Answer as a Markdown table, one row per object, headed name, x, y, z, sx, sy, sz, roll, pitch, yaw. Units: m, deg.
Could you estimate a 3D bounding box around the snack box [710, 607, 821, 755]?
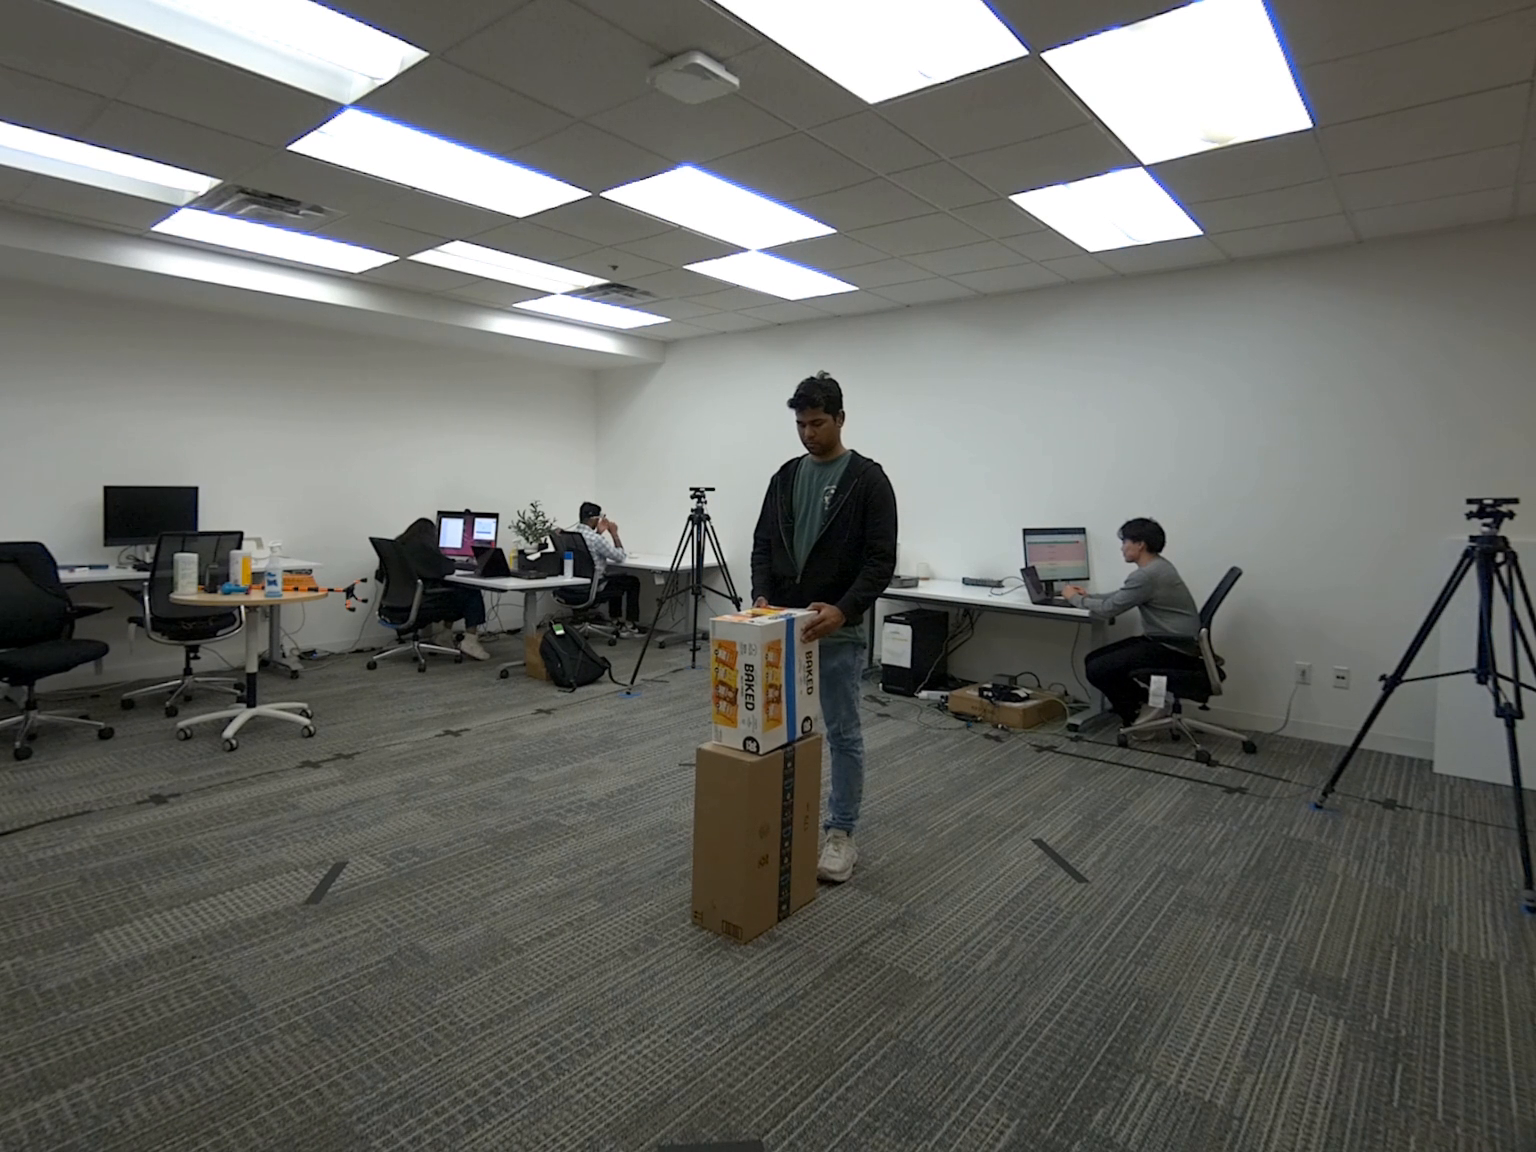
| name | x | y | z | sx | sy | sz | roll | pitch | yaw |
| --- | --- | --- | --- | --- | --- | --- | --- | --- | --- |
| snack box | -0.016 | 0.323 | 2.796 | 0.212 | 0.403 | 0.331 | 3 | 6 | 37 |
